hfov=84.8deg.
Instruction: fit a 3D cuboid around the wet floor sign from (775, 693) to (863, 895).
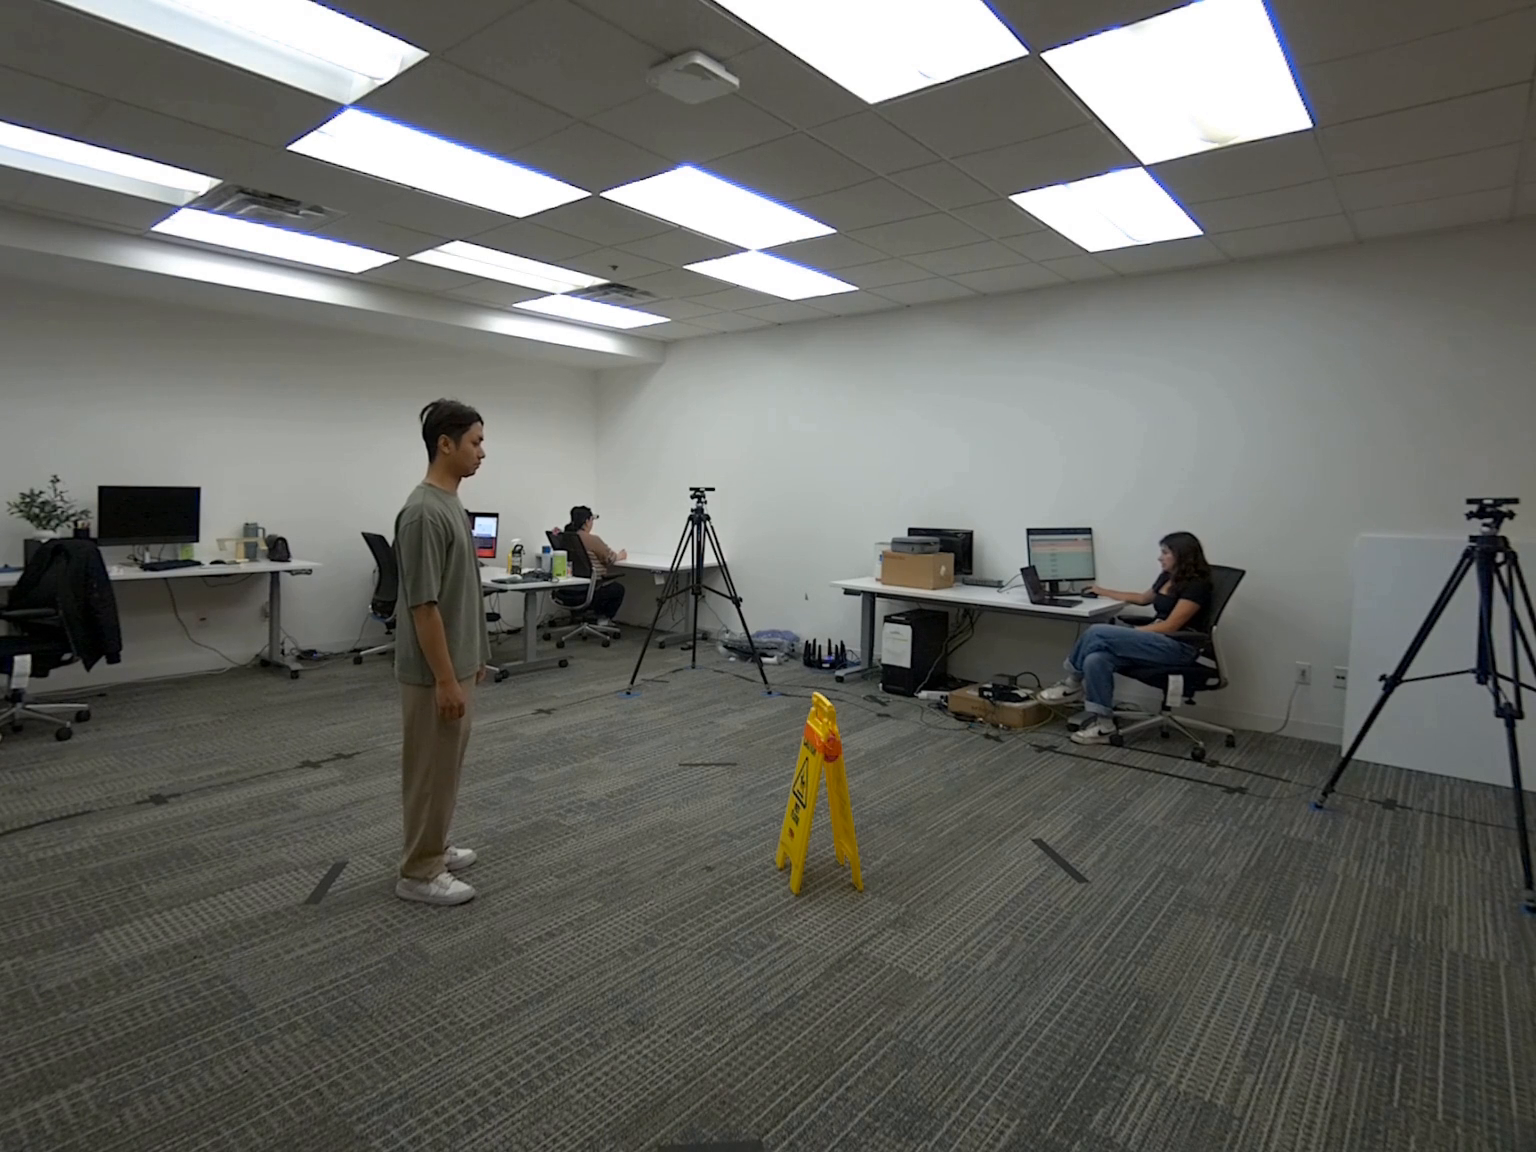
[{"bbox_3d":[0.179,0.760,3.043,0.286,0.644,0.286,2,4,-11],"label":"wet floor sign"}]
